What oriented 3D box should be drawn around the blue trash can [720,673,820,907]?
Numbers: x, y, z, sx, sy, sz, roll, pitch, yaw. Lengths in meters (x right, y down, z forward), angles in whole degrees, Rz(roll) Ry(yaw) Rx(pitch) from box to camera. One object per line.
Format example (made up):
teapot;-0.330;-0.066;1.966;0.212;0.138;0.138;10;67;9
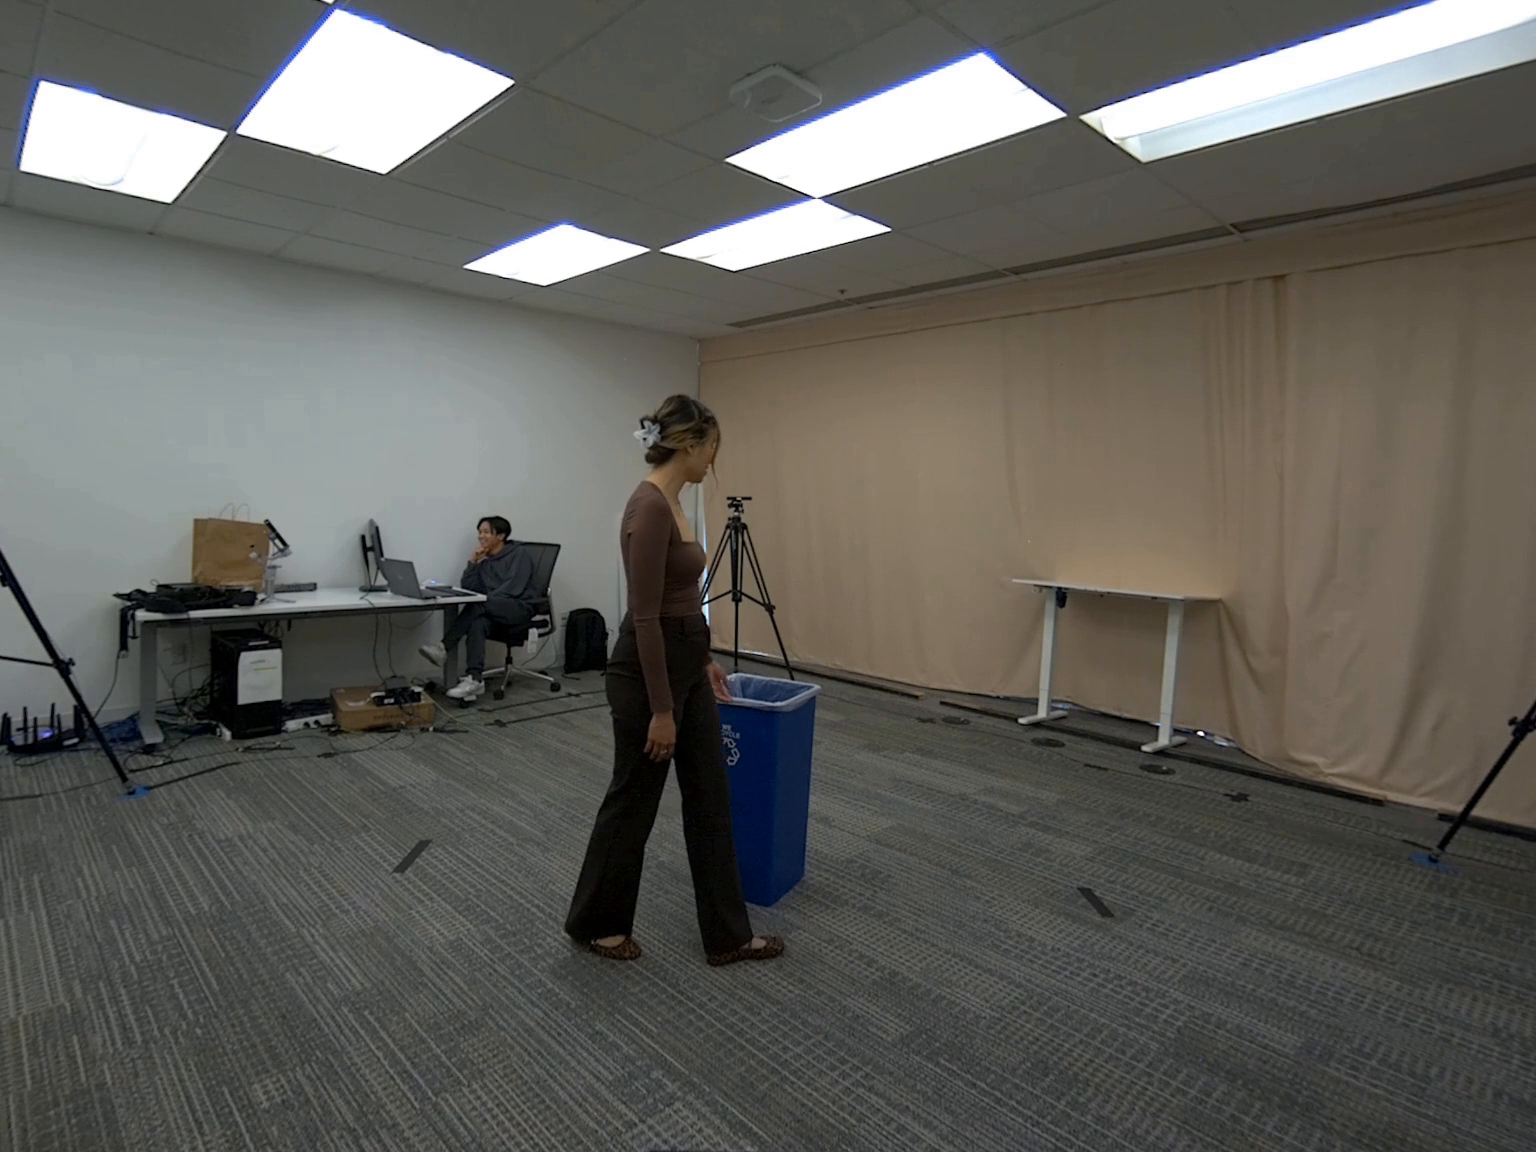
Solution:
blue trash can;-0.051;0.754;3.042;0.382;0.712;0.371;3;4;27
